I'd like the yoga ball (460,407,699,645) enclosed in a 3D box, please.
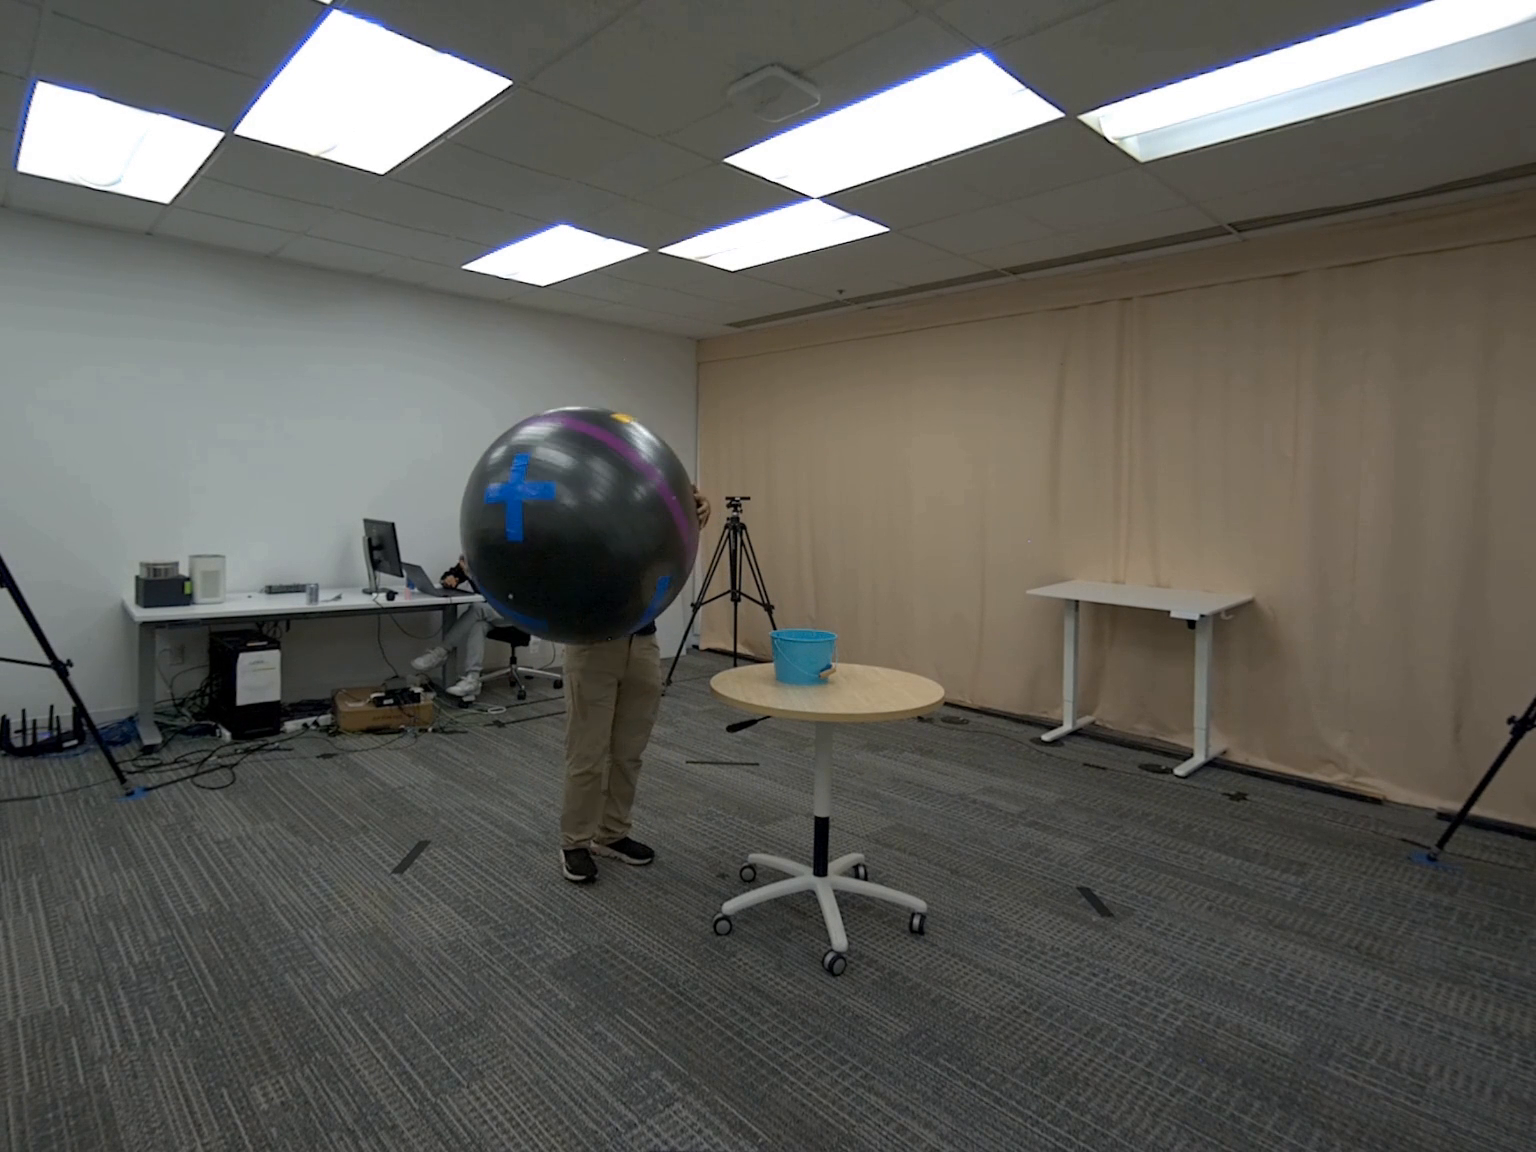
[{"bbox_3d":[-0.602,-0.154,2.693,0.757,0.756,0.761,1,4,-1],"label":"yoga ball"}]
